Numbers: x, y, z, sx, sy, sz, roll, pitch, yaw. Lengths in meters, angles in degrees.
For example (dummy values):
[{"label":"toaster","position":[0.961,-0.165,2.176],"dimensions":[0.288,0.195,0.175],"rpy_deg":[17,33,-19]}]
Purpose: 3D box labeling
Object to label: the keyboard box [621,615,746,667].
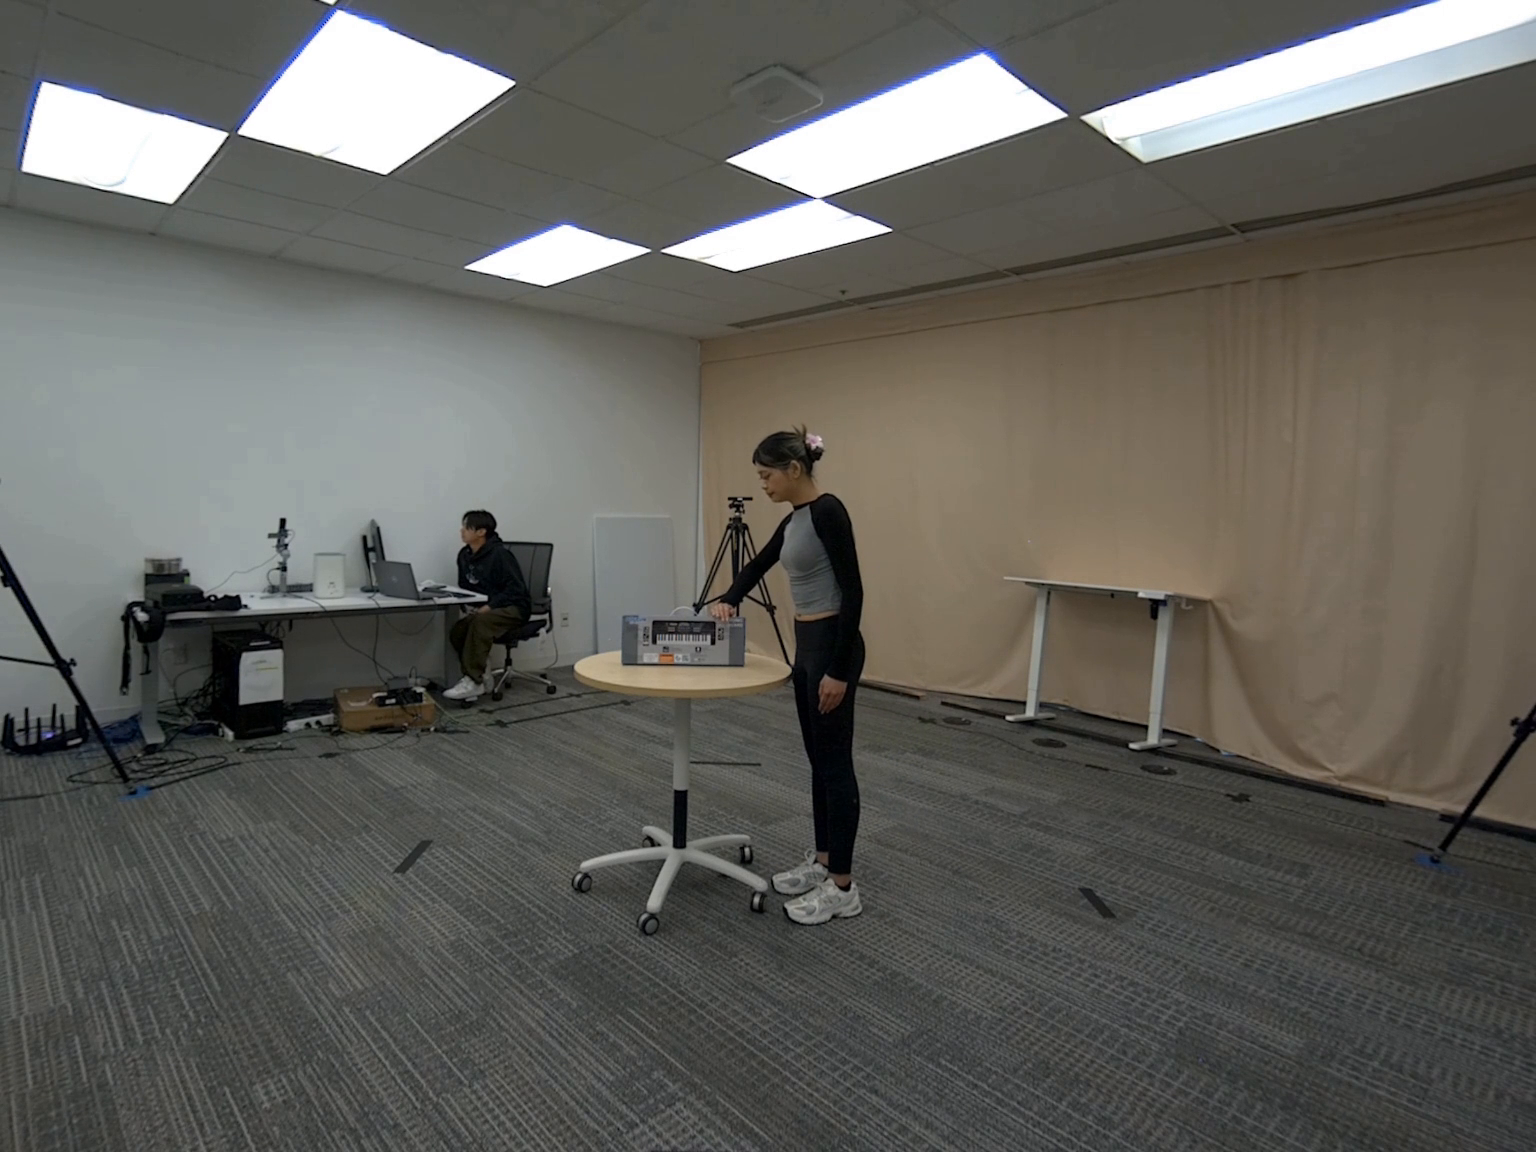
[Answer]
[{"label":"keyboard box","position":[-0.307,0.232,3.014],"dimensions":[0.435,0.176,0.059],"rpy_deg":[1,-1,-4]}]
